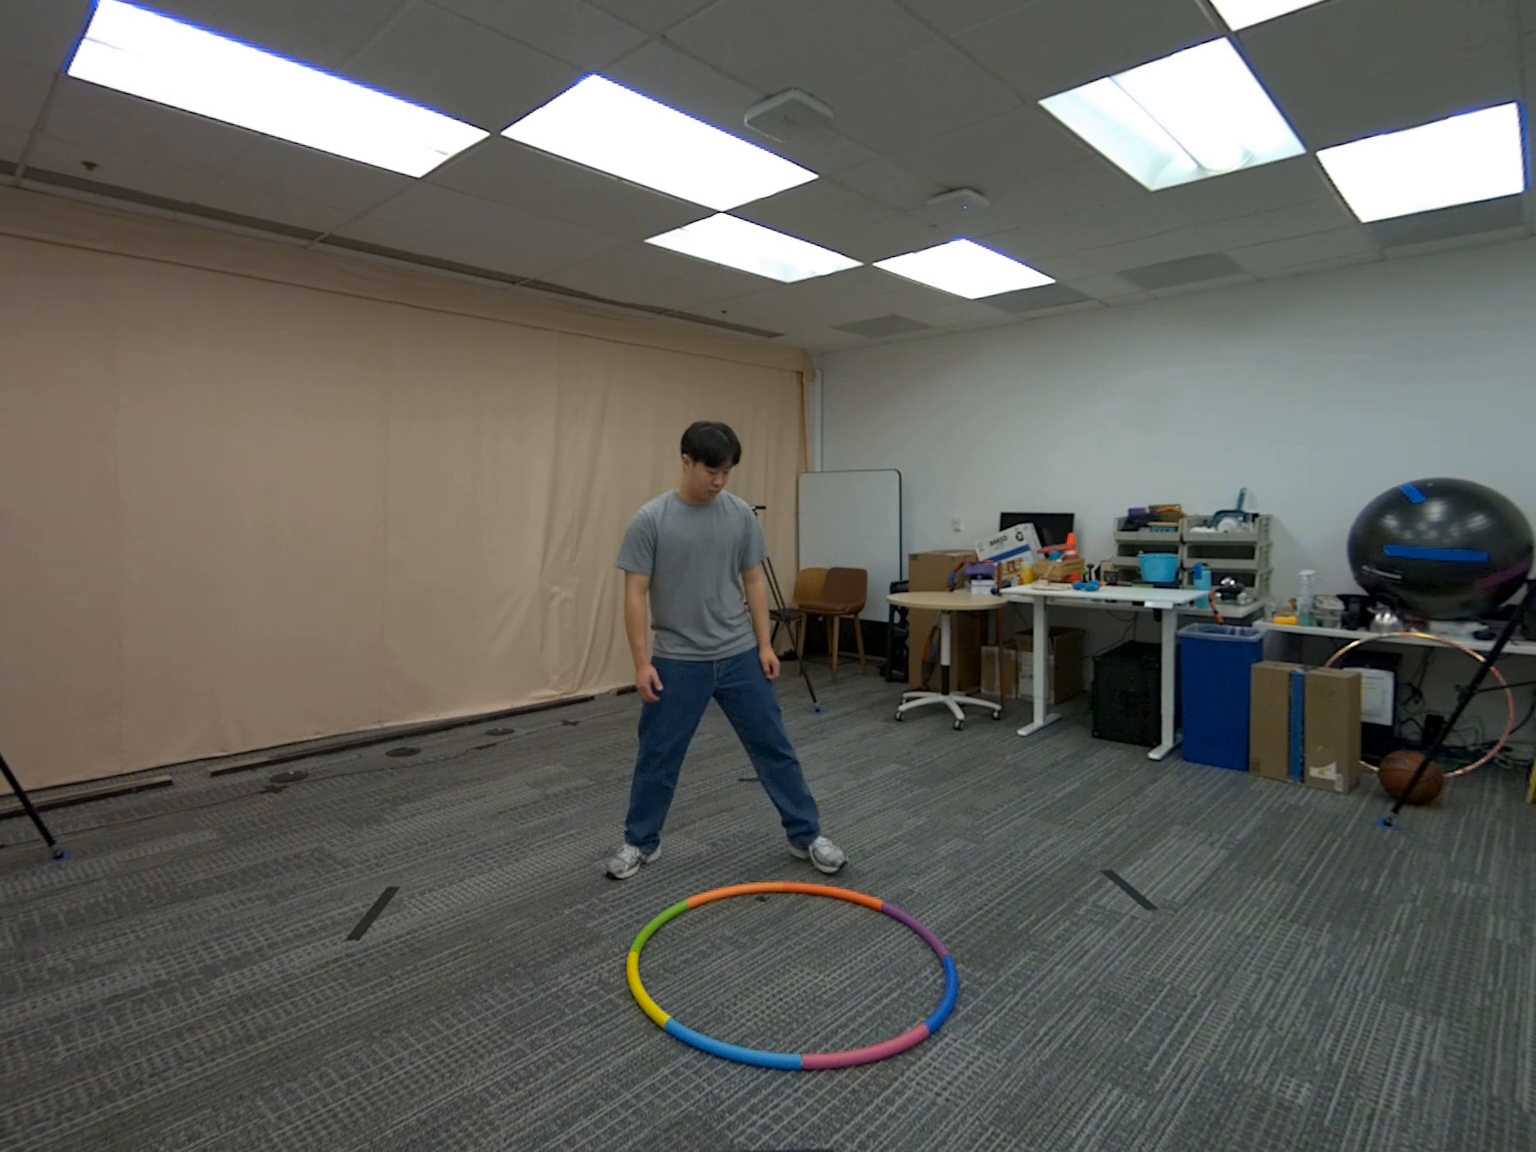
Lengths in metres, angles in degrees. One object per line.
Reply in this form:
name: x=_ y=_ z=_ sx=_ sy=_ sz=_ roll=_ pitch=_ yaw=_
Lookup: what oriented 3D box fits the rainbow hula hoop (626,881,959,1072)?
rainbow hula hoop: x=0.072 y=1.147 z=2.564 sx=0.978 sy=0.035 sz=0.982 roll=0 pitch=4 yaw=-2
